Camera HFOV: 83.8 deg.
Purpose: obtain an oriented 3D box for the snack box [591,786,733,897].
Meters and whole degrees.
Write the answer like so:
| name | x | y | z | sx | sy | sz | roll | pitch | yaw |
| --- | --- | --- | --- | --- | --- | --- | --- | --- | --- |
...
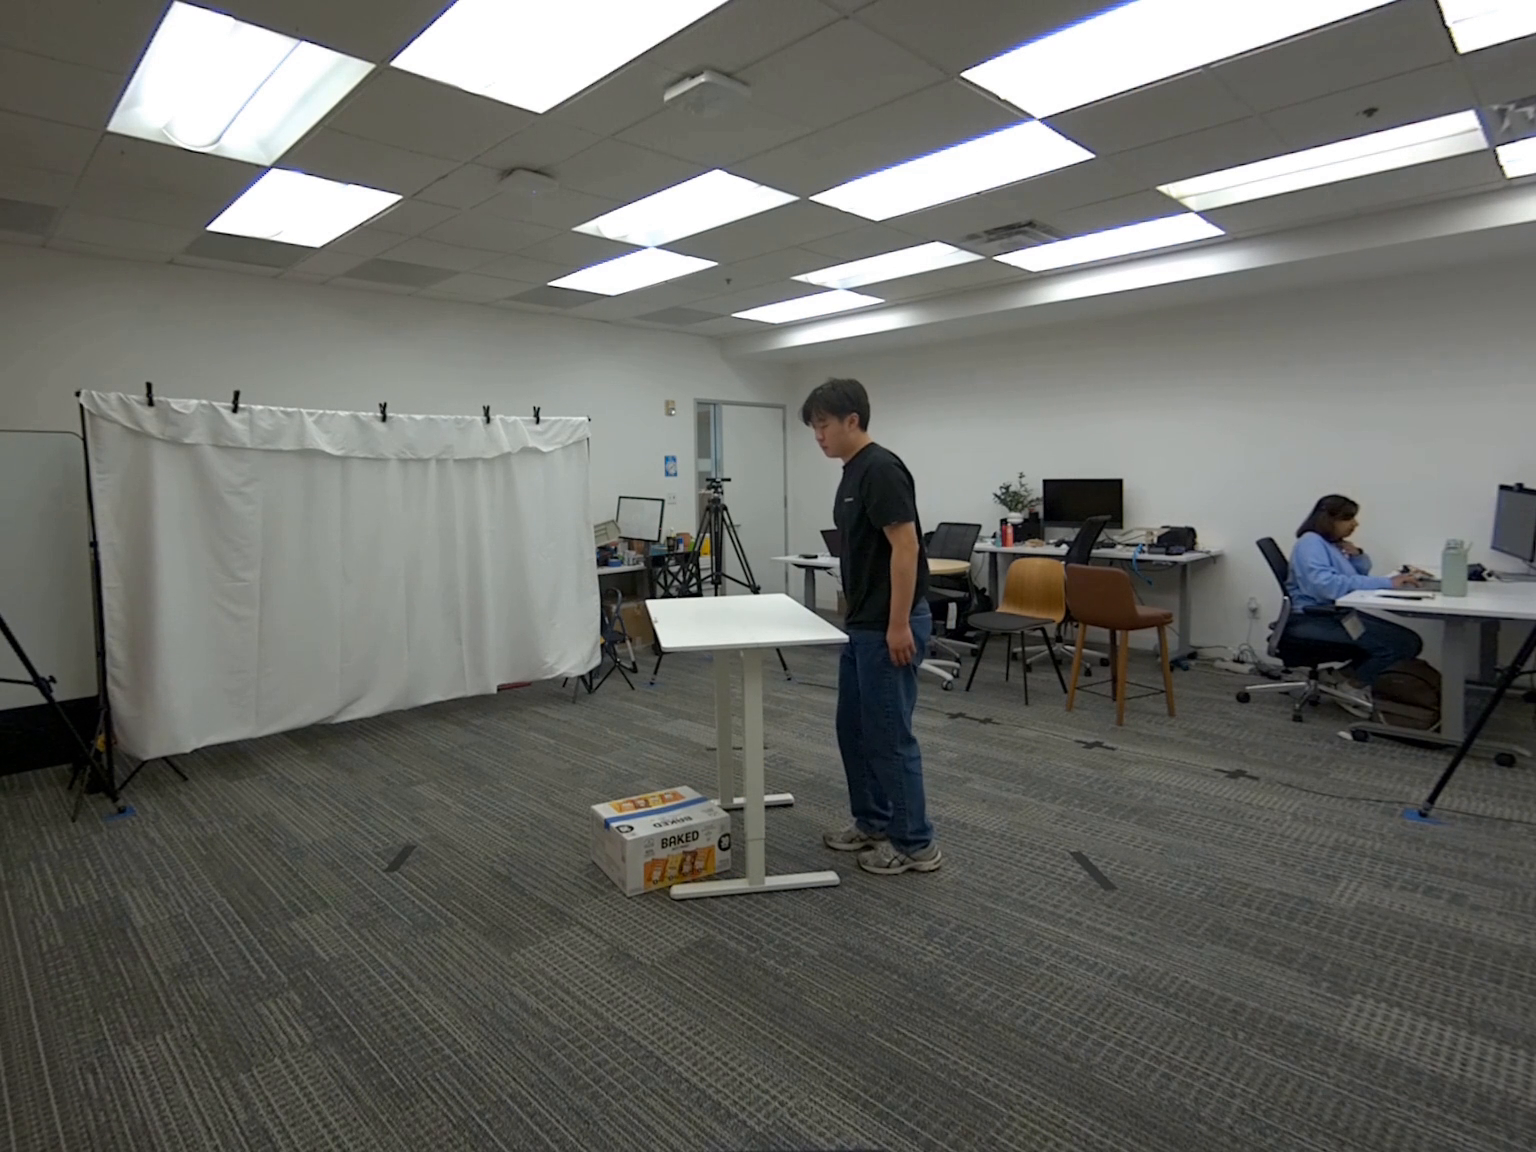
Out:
| name | x | y | z | sx | sy | sz | roll | pitch | yaw |
| --- | --- | --- | --- | --- | --- | --- | --- | --- | --- |
| snack box | -0.389 | 0.948 | 3.091 | 0.395 | 0.205 | 0.350 | -4 | 7 | -31 |
